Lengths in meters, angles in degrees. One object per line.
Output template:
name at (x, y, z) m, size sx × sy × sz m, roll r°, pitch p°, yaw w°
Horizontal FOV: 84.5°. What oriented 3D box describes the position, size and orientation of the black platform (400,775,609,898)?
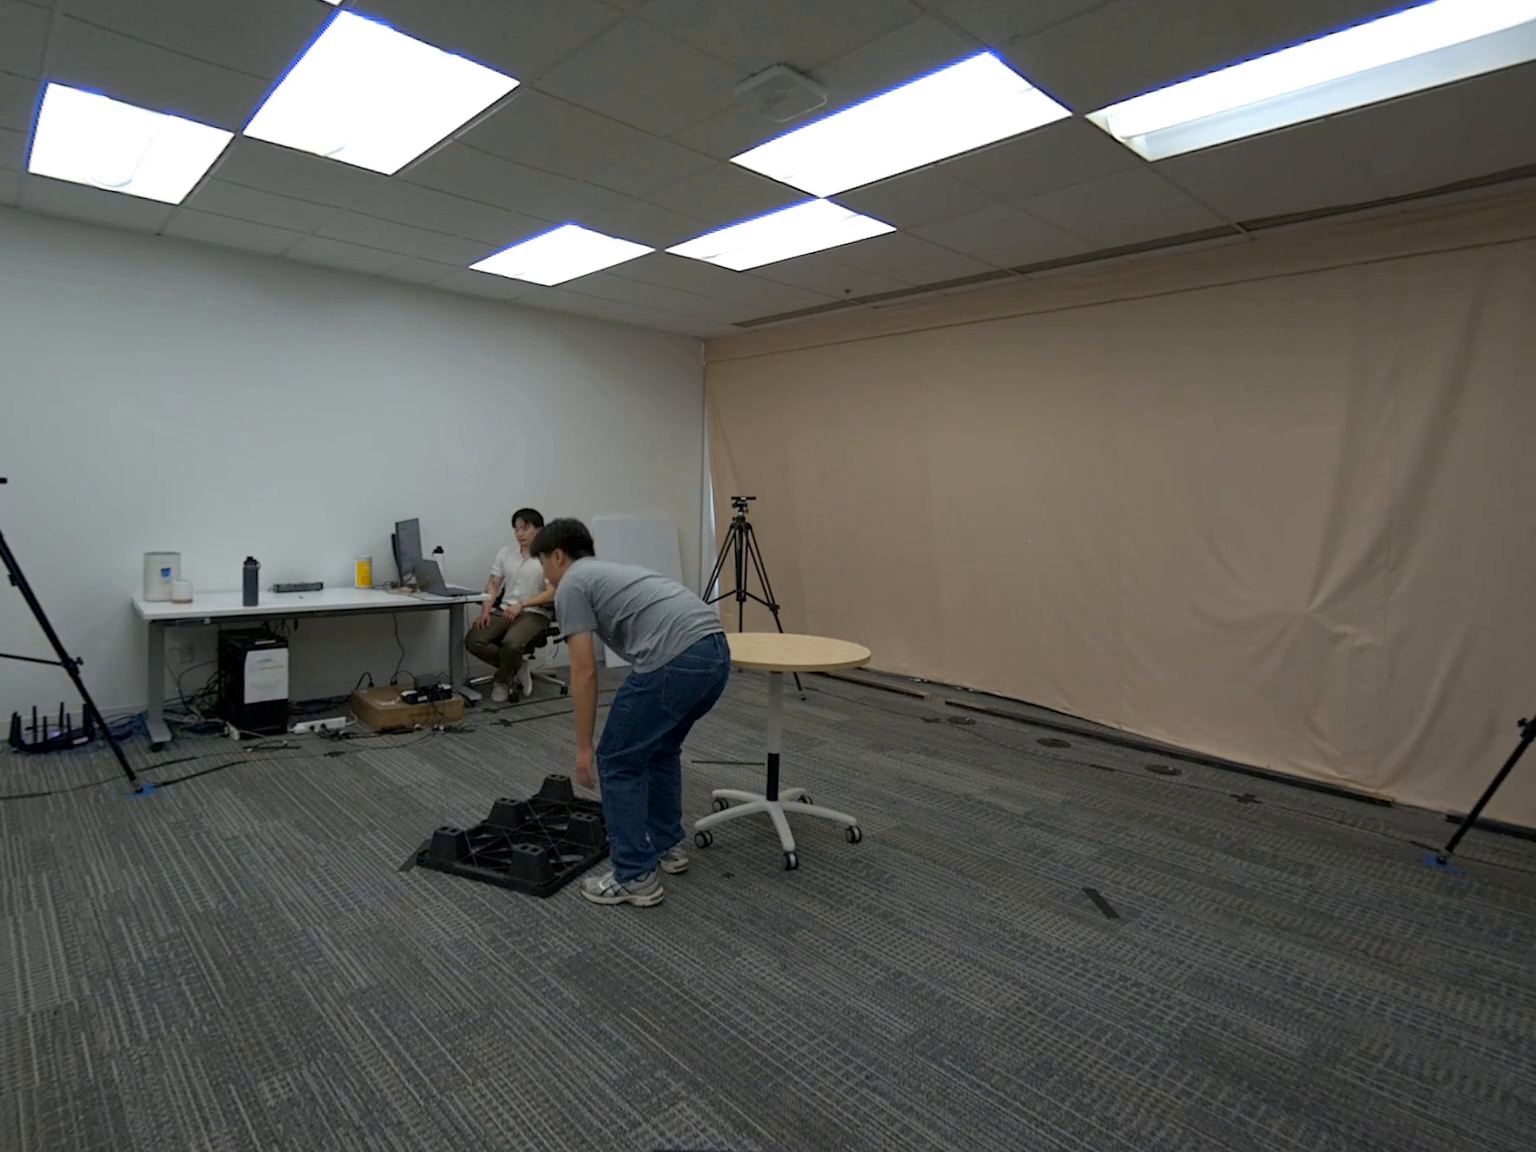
black platform at (-0.900, 1.002, 3.362) m, size 0.616 × 0.143 × 0.793 m, roll 3°, pitch 5°, yaw 22°
